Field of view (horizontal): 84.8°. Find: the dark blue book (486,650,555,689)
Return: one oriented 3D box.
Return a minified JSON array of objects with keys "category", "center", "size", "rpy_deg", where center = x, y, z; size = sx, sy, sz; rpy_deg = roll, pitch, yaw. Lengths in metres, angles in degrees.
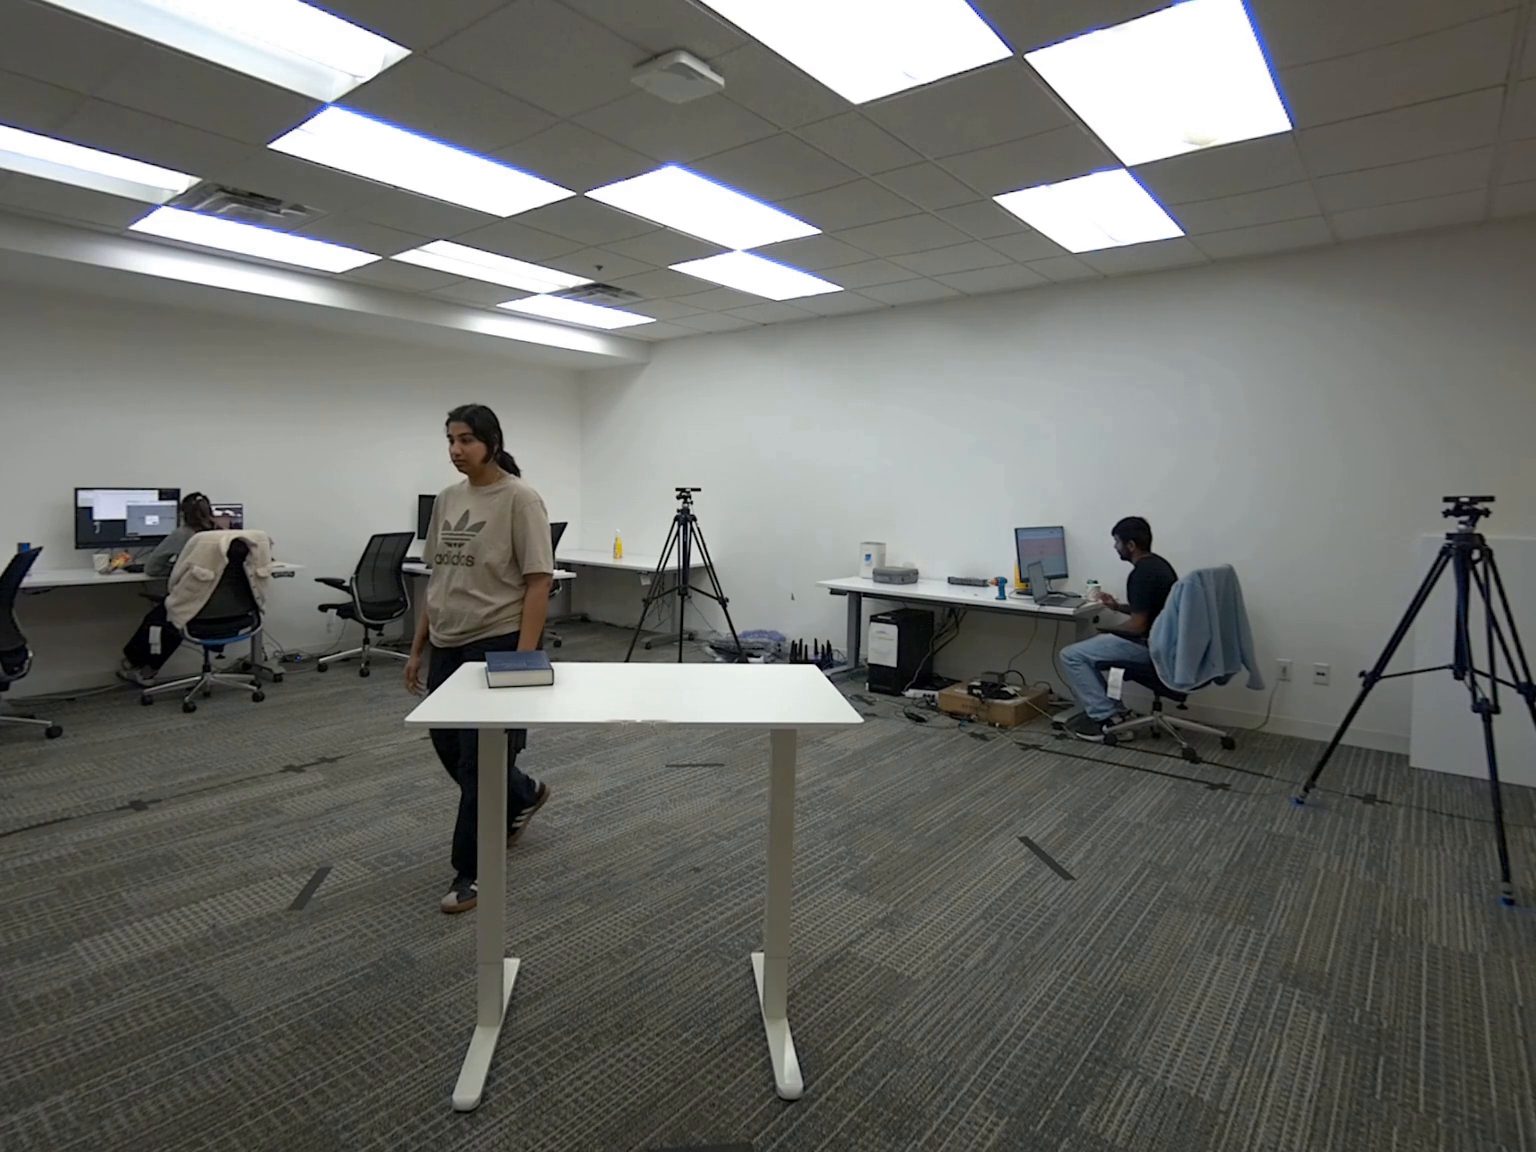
[{"category":"dark blue book","center":[-0.670,0.243,2.241],"size":[0.160,0.045,0.251],"rpy_deg":[-1,8,-20]}]
